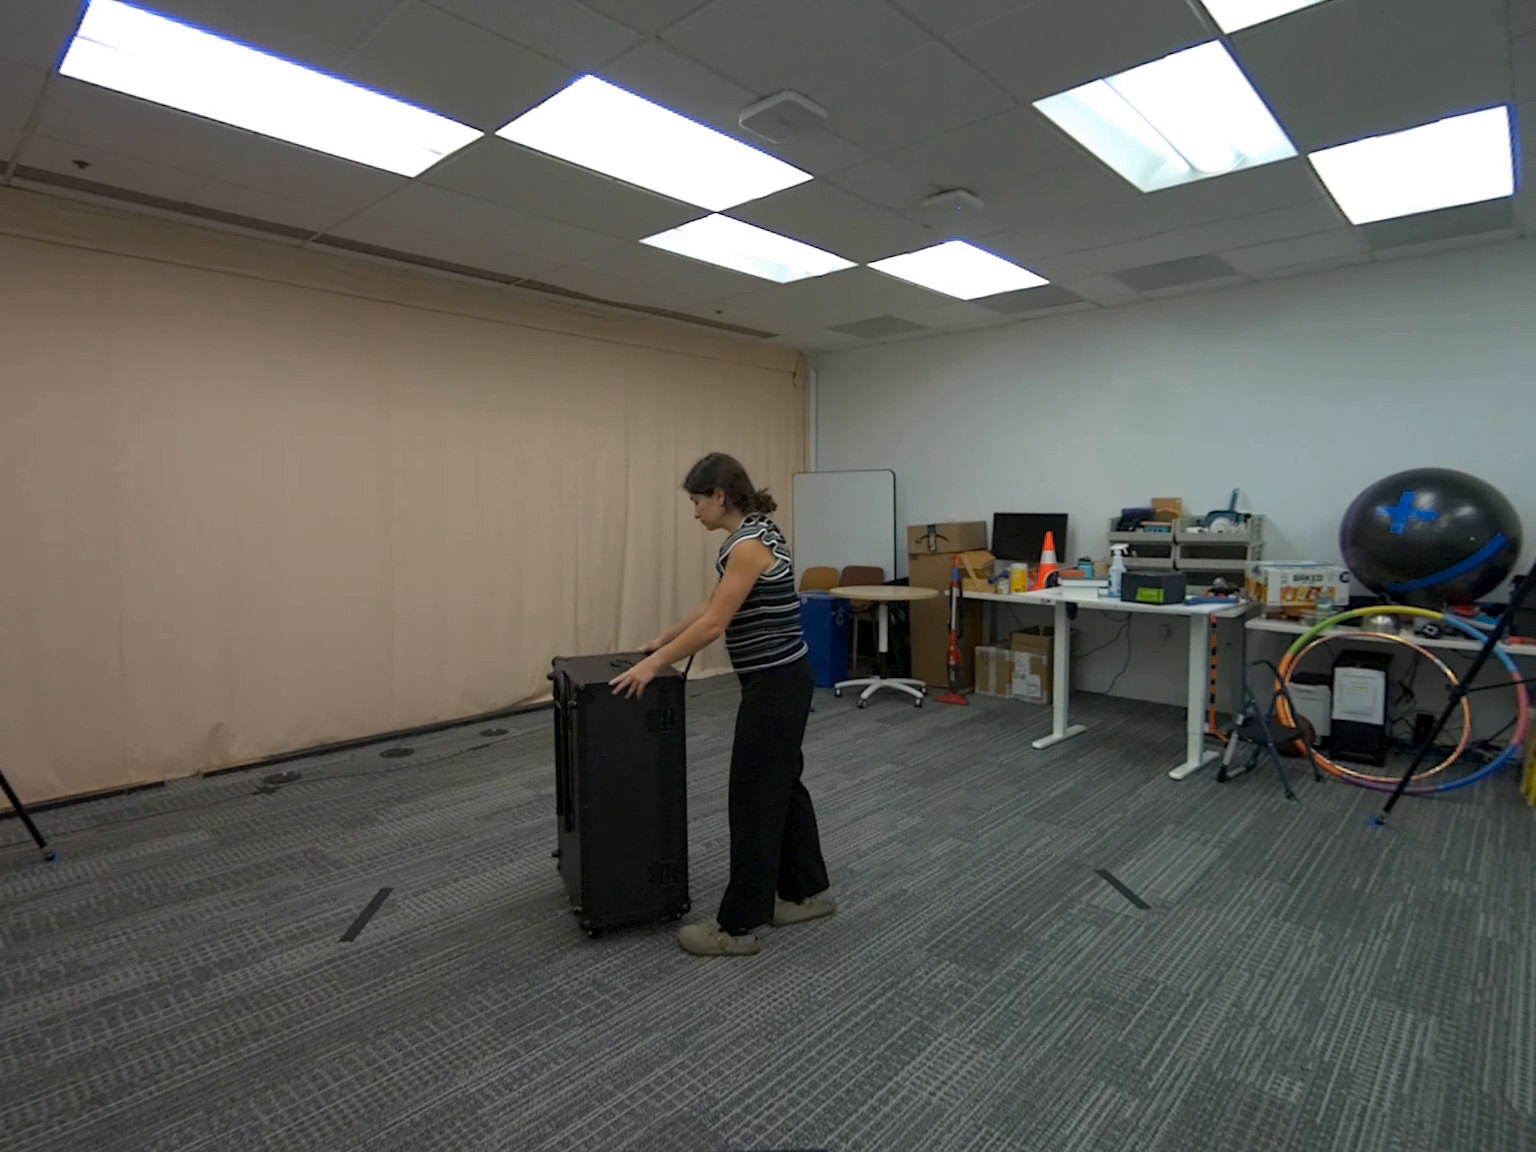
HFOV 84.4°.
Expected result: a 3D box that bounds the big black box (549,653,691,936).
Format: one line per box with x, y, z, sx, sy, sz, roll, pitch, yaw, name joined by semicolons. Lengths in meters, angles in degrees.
-0.521;0.732;2.884;0.388;0.859;0.533;-2;4;-22;big black box
